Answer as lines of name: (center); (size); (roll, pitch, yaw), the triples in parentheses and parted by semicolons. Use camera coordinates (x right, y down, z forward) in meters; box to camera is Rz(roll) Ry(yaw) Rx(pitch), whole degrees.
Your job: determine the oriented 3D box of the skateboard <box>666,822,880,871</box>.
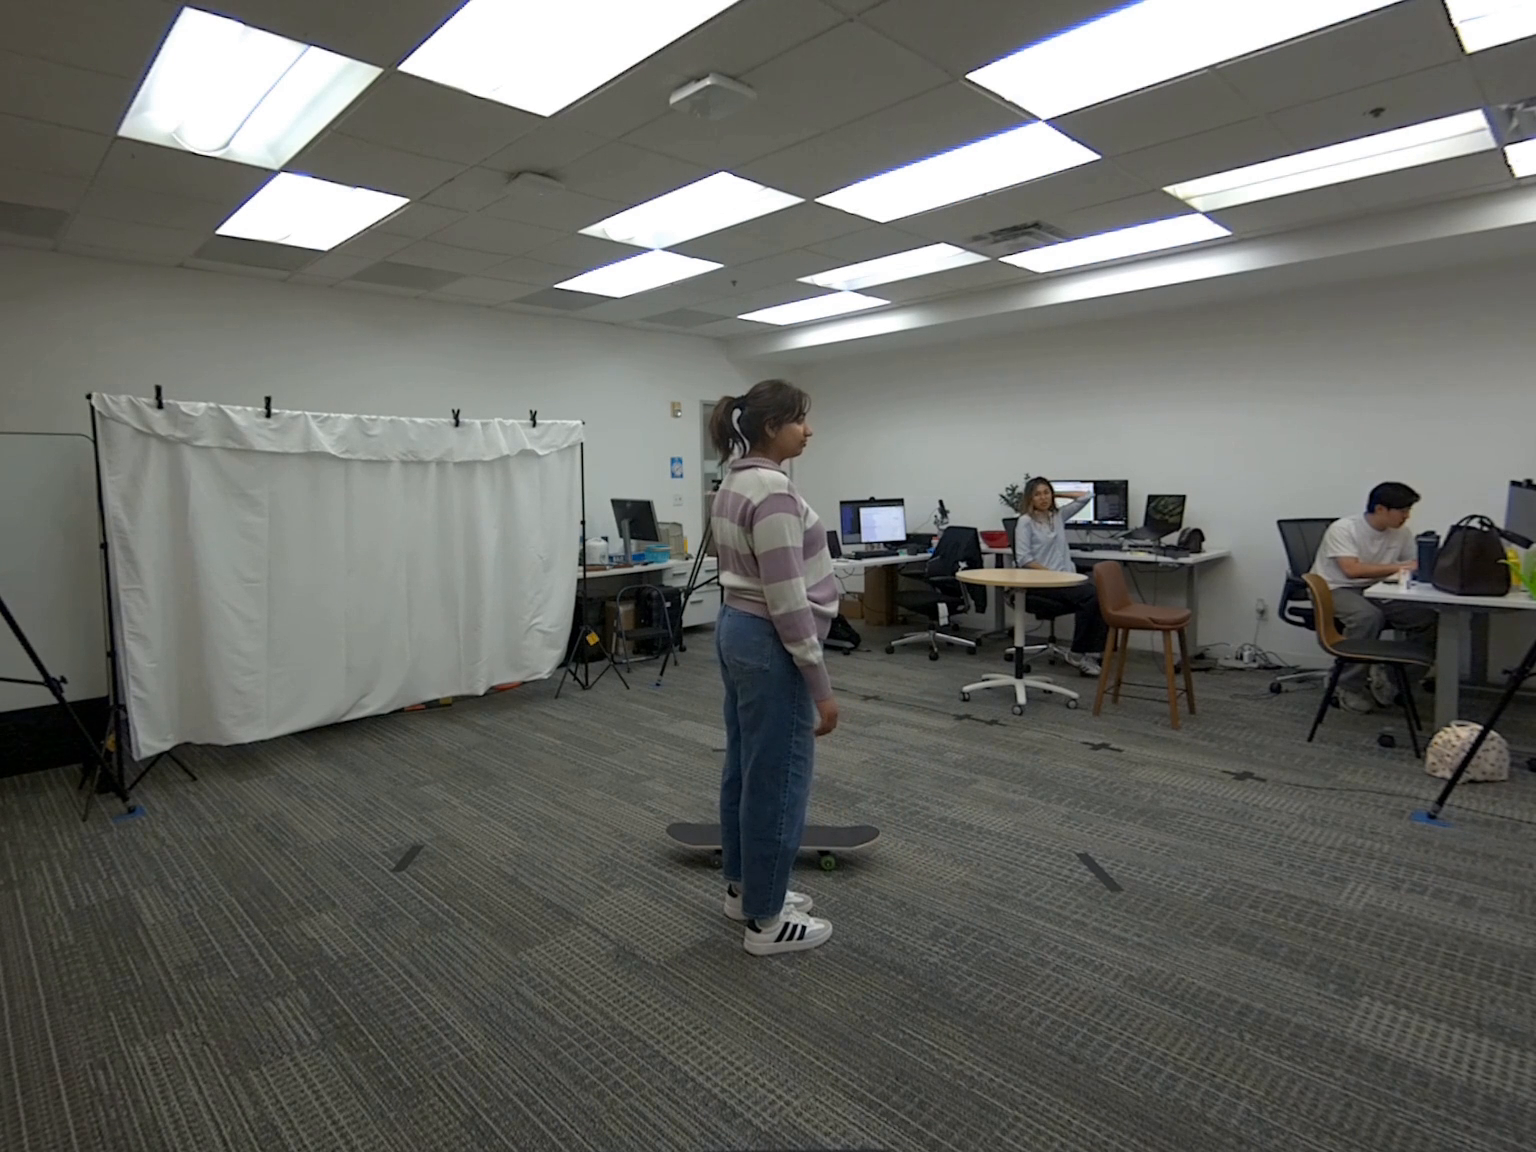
skateboard: (0.019, 0.980, 3.140); (0.789, 0.110, 0.193); (0, 7, 5)
